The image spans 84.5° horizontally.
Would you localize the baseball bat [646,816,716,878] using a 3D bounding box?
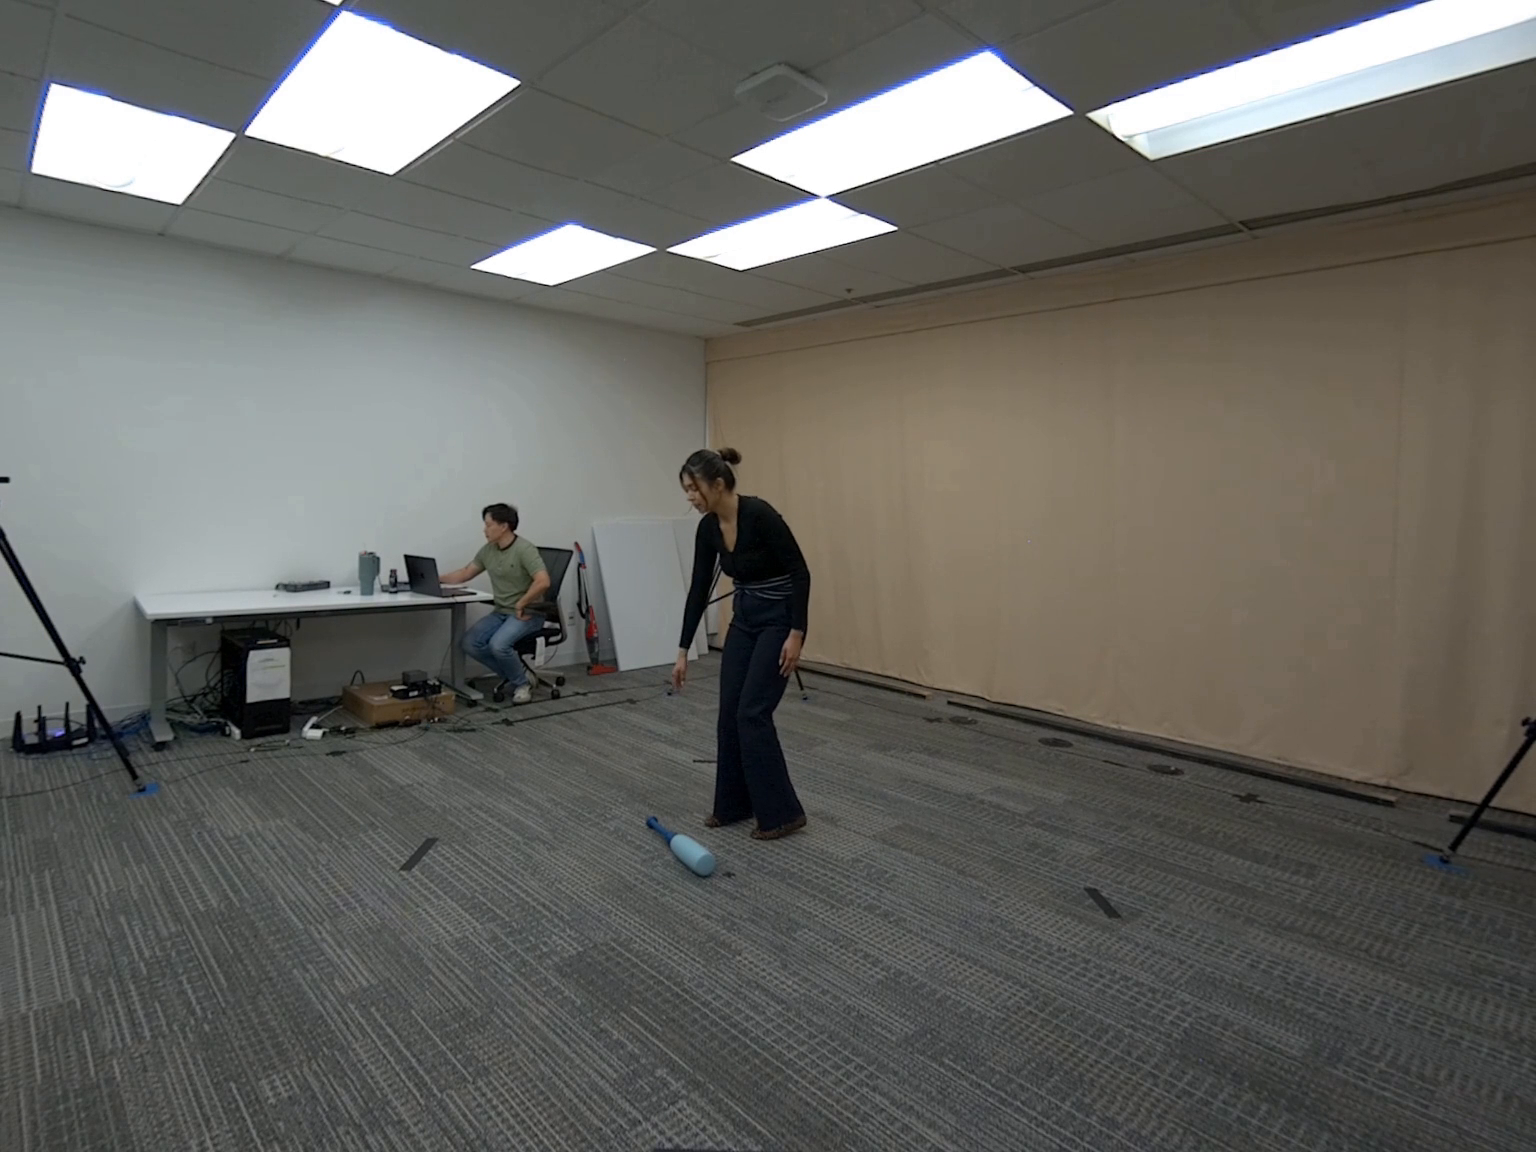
[{"bbox_3d":[-0.363,1.043,3.294,0.087,0.089,0.554,-1,3,-28],"label":"baseball bat"}]
